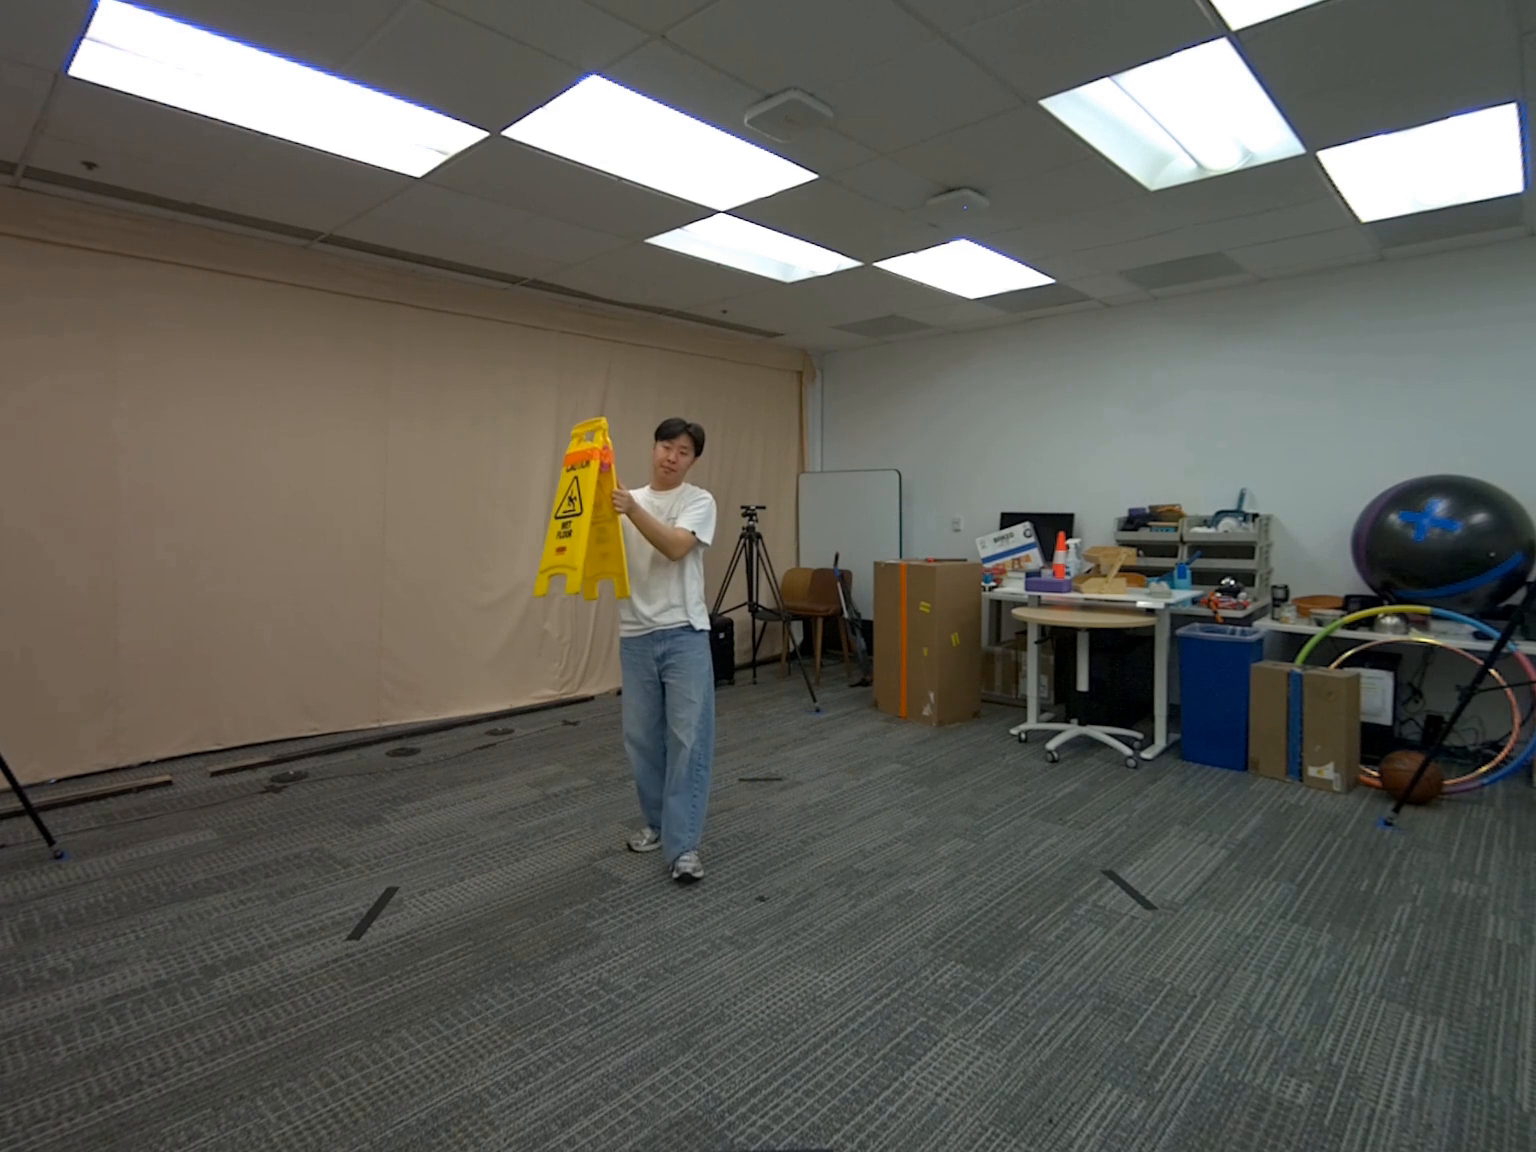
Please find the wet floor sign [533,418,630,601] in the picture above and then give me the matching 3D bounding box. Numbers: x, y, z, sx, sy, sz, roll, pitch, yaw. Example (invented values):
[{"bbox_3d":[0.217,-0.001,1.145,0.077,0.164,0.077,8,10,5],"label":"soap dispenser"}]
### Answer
[{"bbox_3d":[-0.664,-0.250,3.073,0.280,0.648,0.291,6,-8,-44],"label":"wet floor sign"}]
